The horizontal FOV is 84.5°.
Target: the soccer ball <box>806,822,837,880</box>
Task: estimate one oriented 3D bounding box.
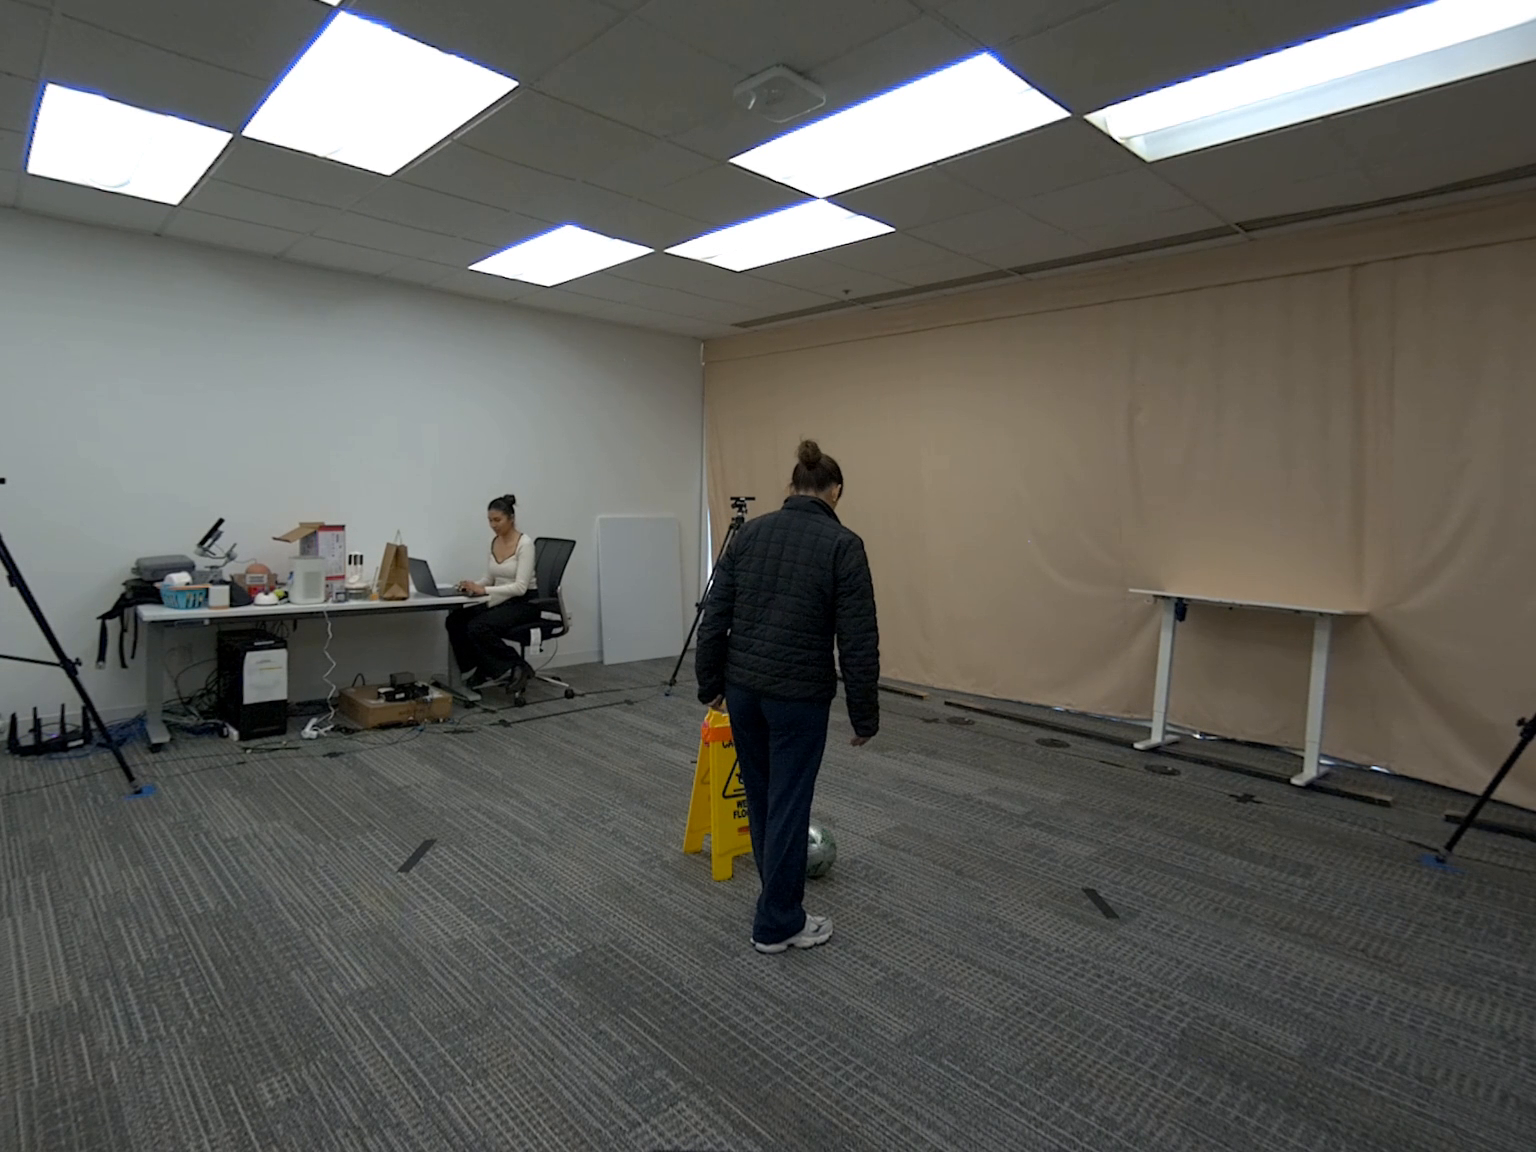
[{"bbox_3d":[0.154,1.020,3.125,0.187,0.187,0.188,1,4,-1],"label":"soccer ball"}]
